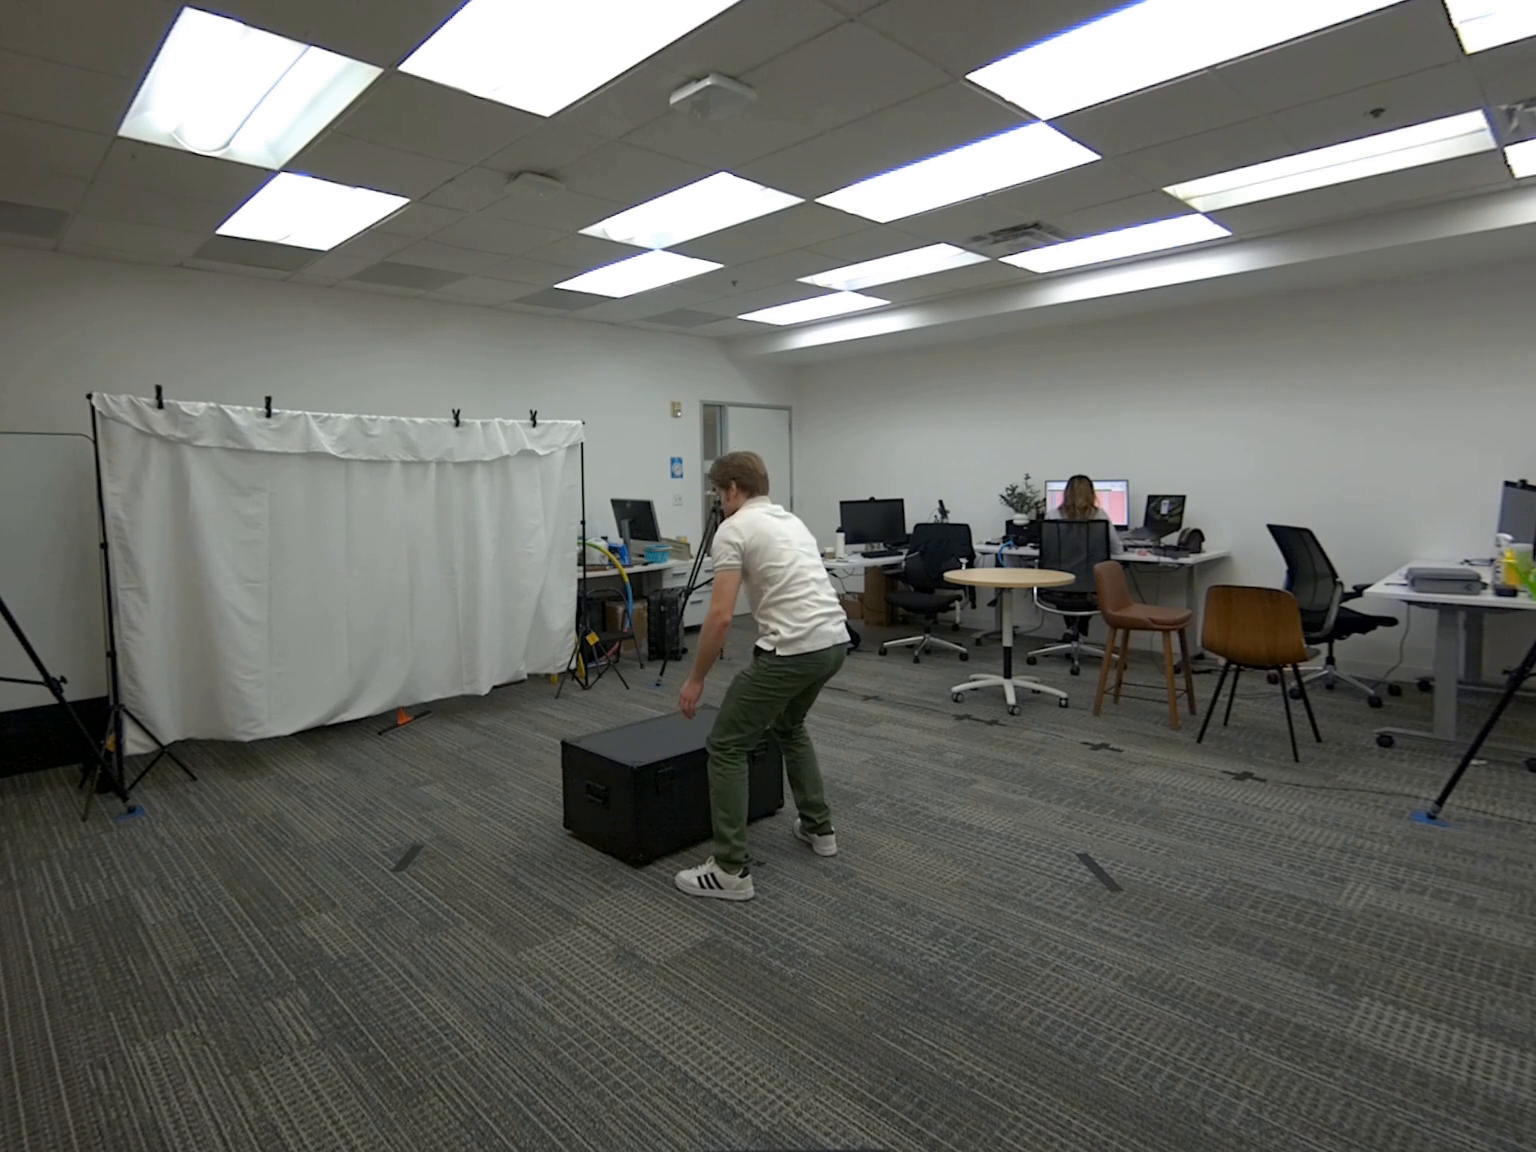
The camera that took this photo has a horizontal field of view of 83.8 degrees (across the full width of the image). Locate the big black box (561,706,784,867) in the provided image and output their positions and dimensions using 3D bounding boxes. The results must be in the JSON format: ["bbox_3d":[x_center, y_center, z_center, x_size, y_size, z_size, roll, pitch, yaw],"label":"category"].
[{"bbox_3d":[-0.345,0.813,3.506,0.846,0.384,0.539,-6,6,-44],"label":"big black box"}]
